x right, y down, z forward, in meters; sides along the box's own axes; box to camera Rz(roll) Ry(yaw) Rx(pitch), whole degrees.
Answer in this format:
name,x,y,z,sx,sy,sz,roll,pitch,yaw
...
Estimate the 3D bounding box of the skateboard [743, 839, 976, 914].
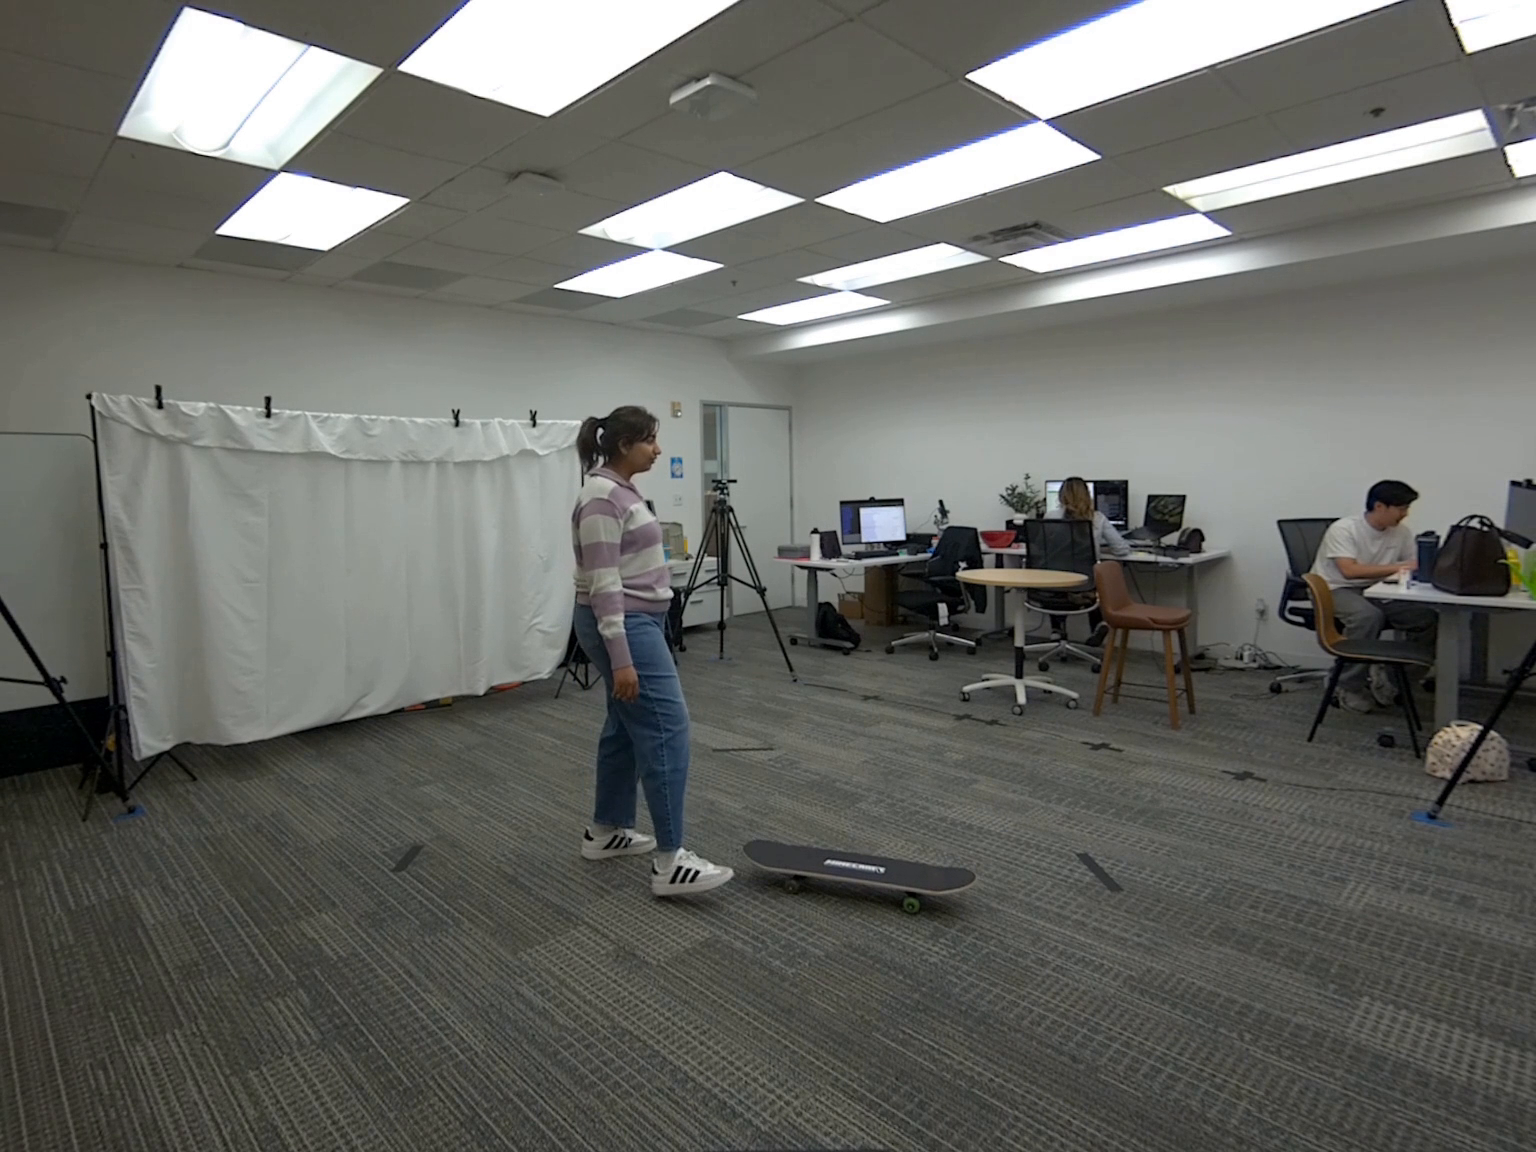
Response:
name,x,y,z,sx,sy,sz,roll,pitch,yaw
skateboard,0.293,1.007,2.874,0.801,0.110,0.190,1,6,20
